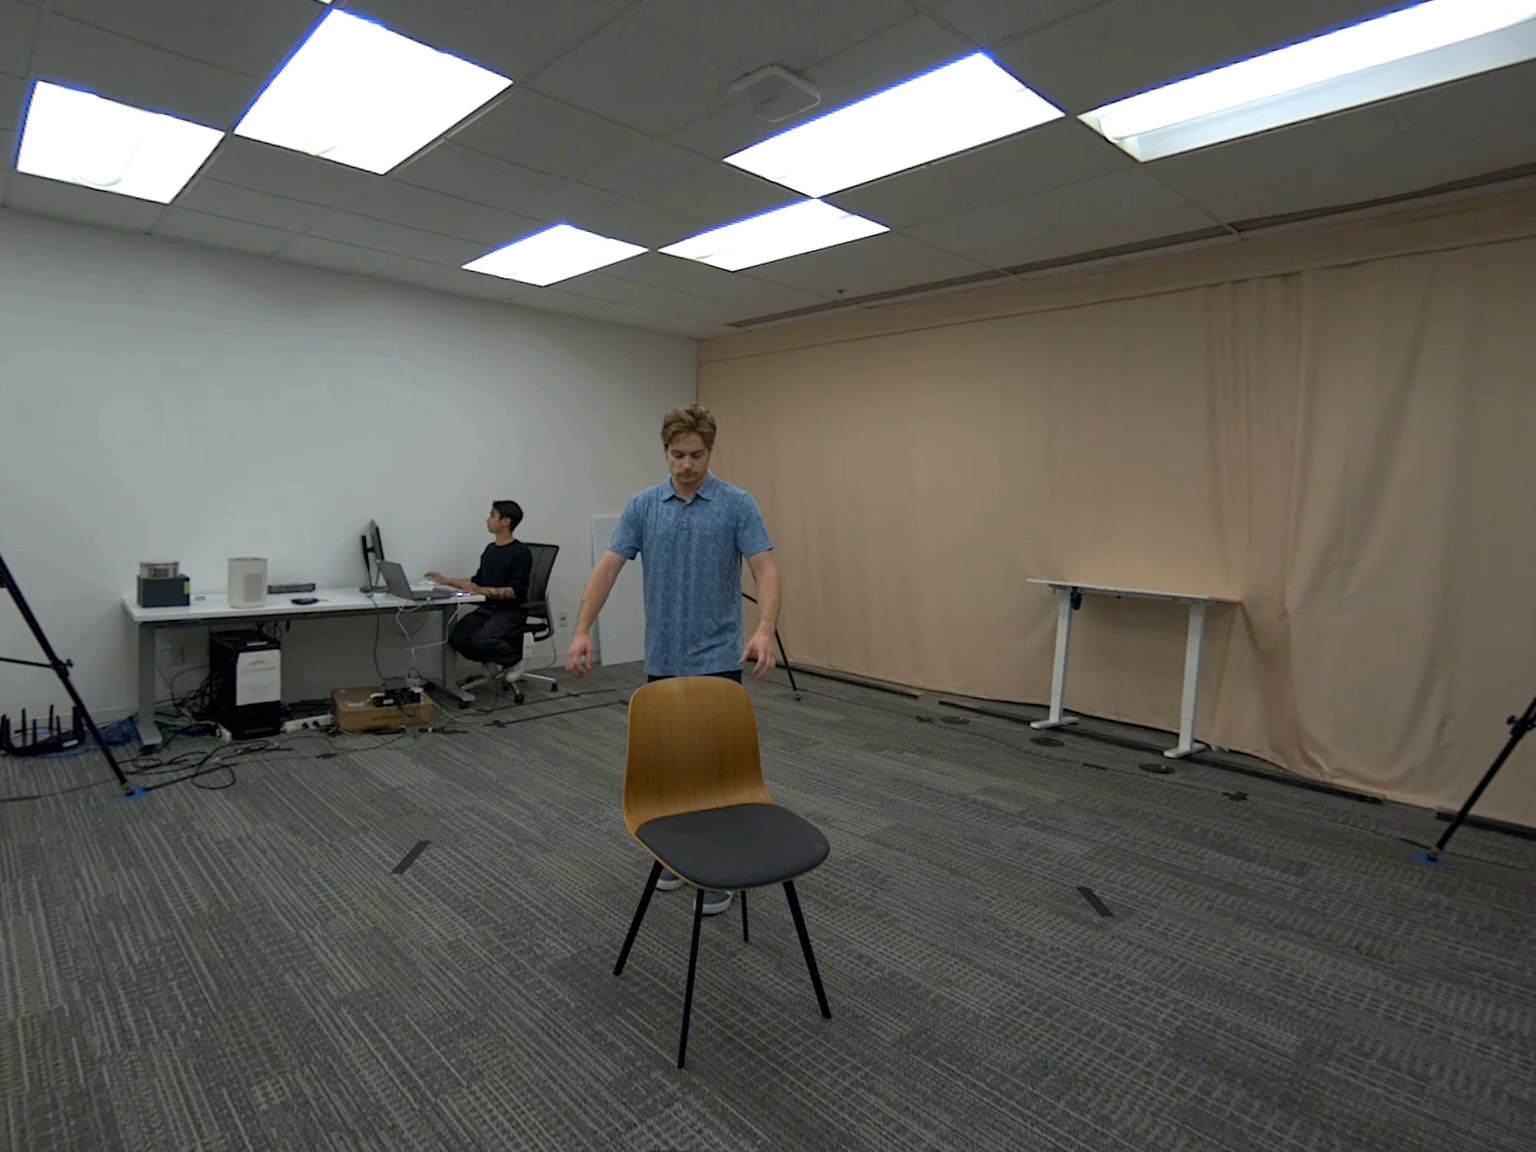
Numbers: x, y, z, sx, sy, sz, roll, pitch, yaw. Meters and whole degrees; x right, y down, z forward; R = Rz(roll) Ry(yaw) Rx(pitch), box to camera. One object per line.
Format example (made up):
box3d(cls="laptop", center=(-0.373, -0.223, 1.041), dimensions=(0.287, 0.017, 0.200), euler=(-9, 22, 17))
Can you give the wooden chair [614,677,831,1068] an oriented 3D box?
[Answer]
box3d(cls="wooden chair", center=(-0.128, 0.750, 2.315), dimensions=(0.468, 0.877, 0.534), euler=(0, 0, -31))
